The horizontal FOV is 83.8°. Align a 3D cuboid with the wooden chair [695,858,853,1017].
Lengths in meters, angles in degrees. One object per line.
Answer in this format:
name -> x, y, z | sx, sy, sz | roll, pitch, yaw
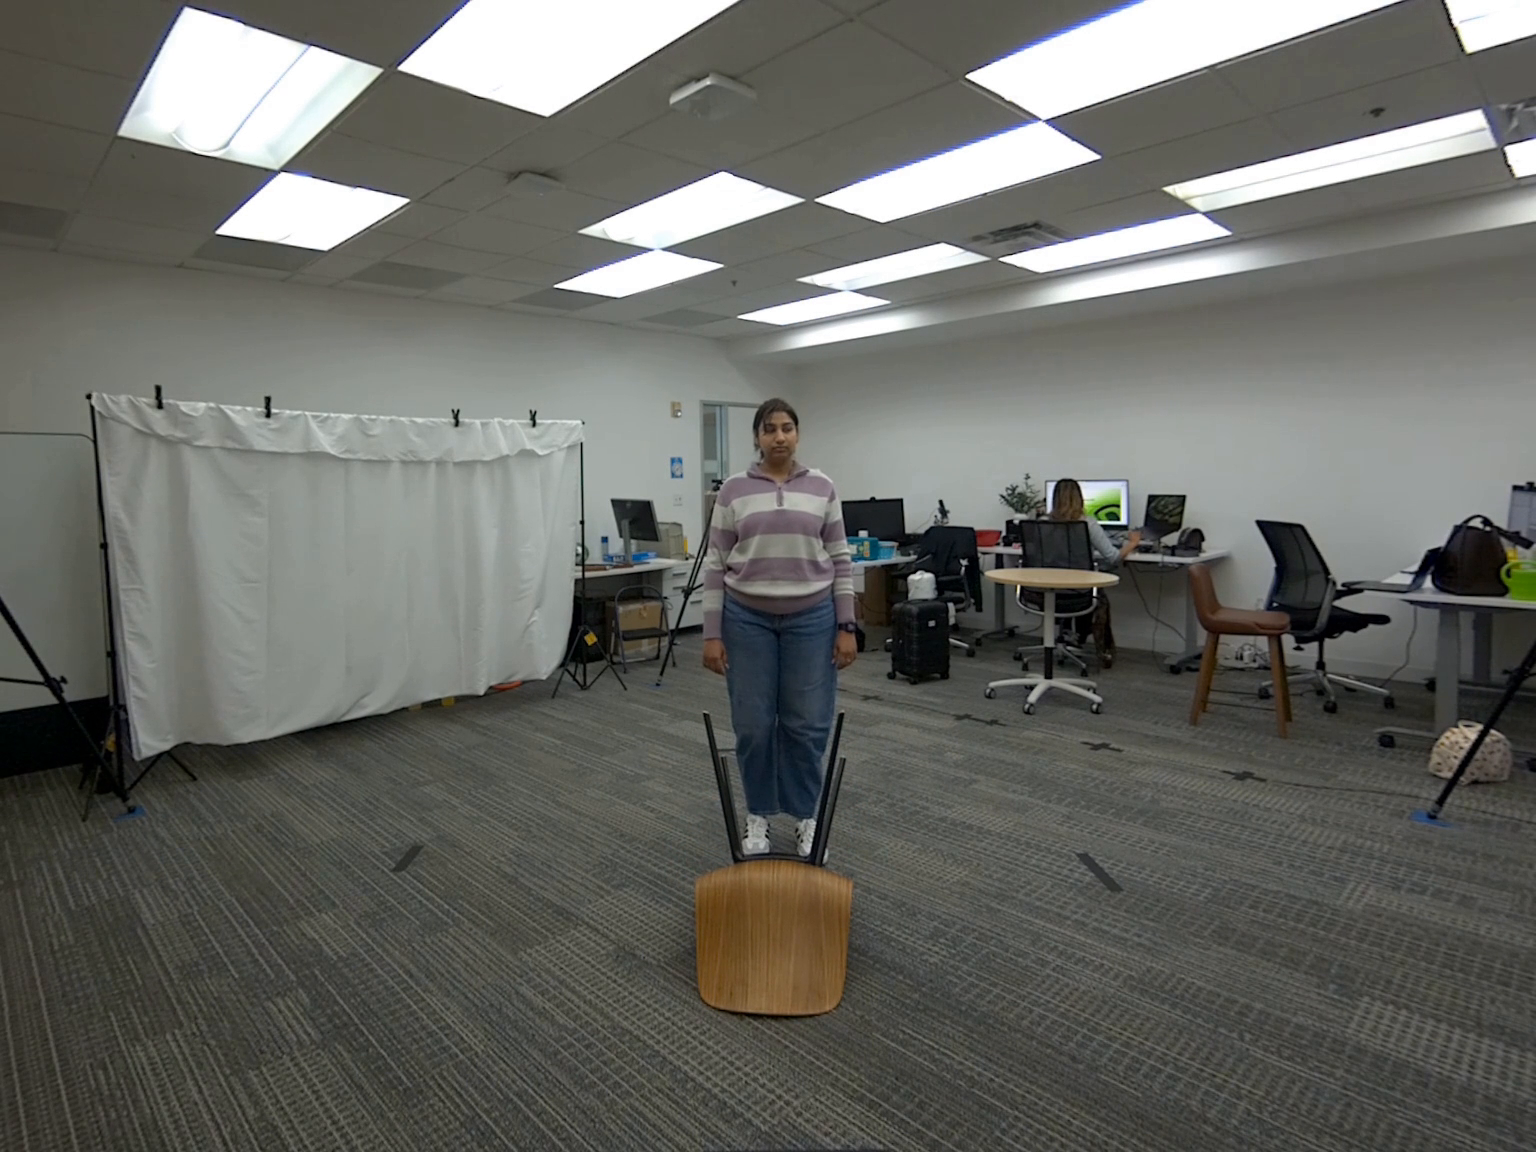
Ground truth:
wooden chair -> 0.031, 0.928, 2.678 | 0.481, 0.899, 0.507 | -2, -36, 5
